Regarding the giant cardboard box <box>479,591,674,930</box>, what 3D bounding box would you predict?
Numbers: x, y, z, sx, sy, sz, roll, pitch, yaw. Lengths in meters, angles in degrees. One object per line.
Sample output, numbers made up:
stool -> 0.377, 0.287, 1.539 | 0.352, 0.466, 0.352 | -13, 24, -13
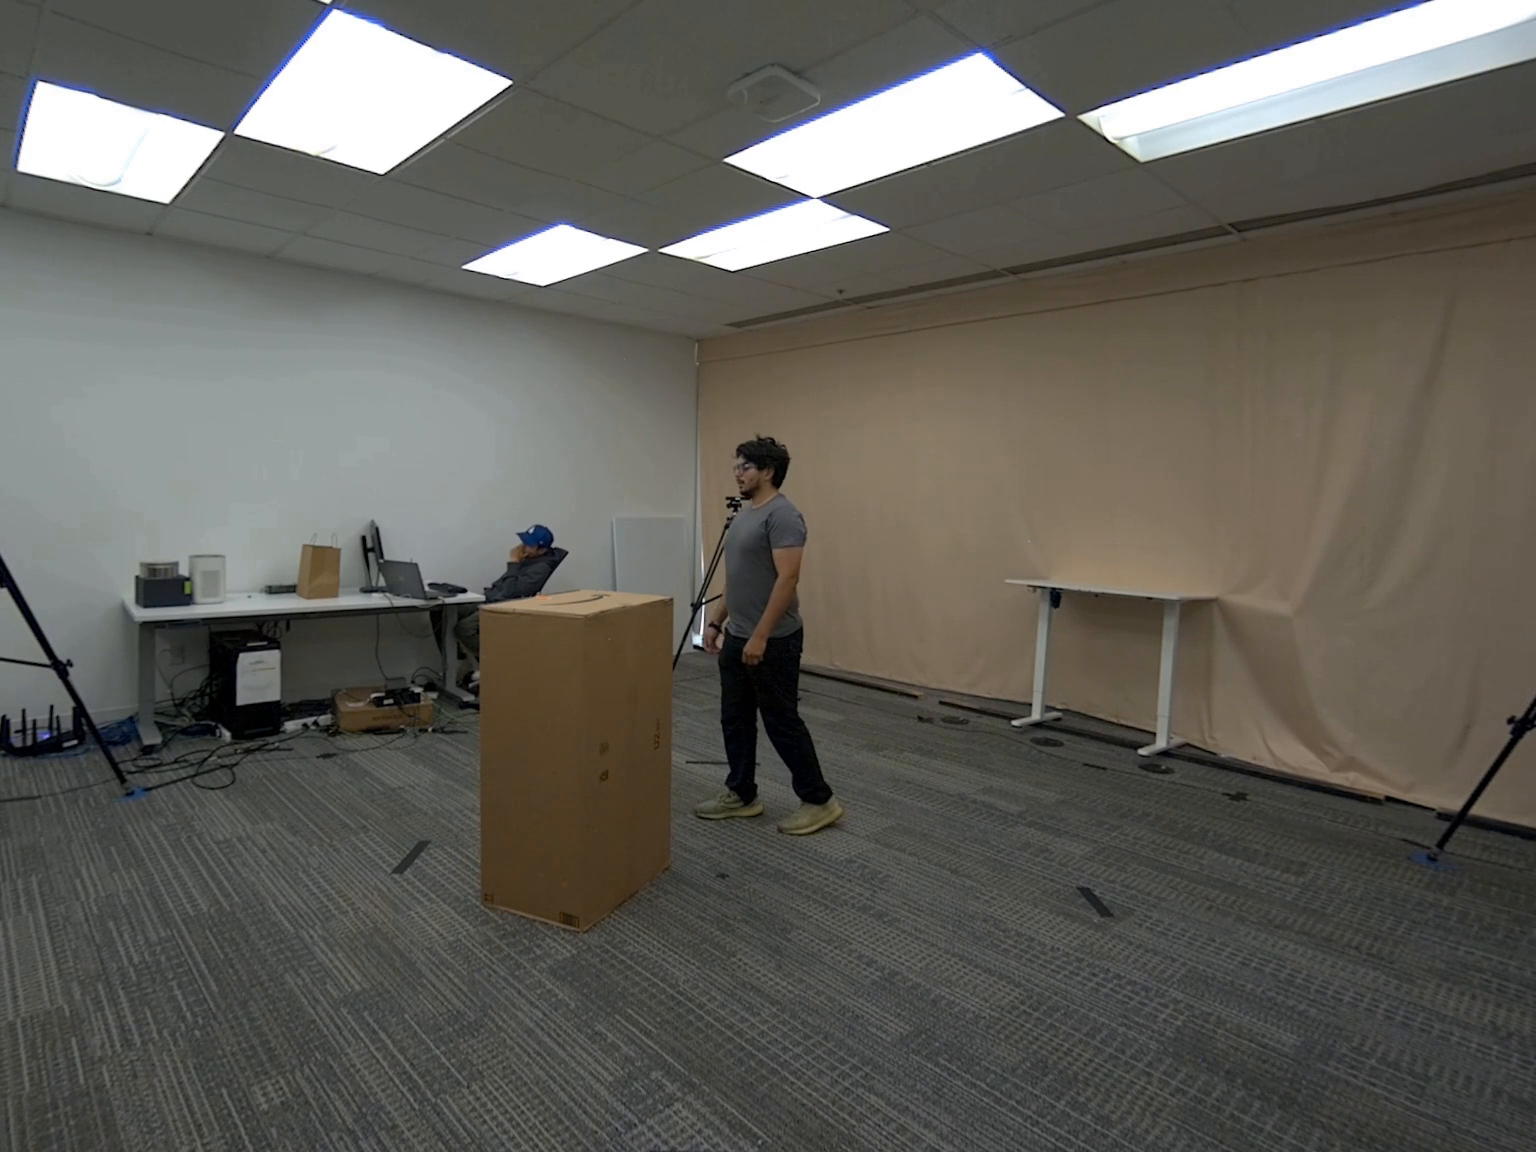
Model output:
giant cardboard box -> -0.670, 0.597, 2.985 | 0.434, 1.023, 0.568 | 3, 4, 25
